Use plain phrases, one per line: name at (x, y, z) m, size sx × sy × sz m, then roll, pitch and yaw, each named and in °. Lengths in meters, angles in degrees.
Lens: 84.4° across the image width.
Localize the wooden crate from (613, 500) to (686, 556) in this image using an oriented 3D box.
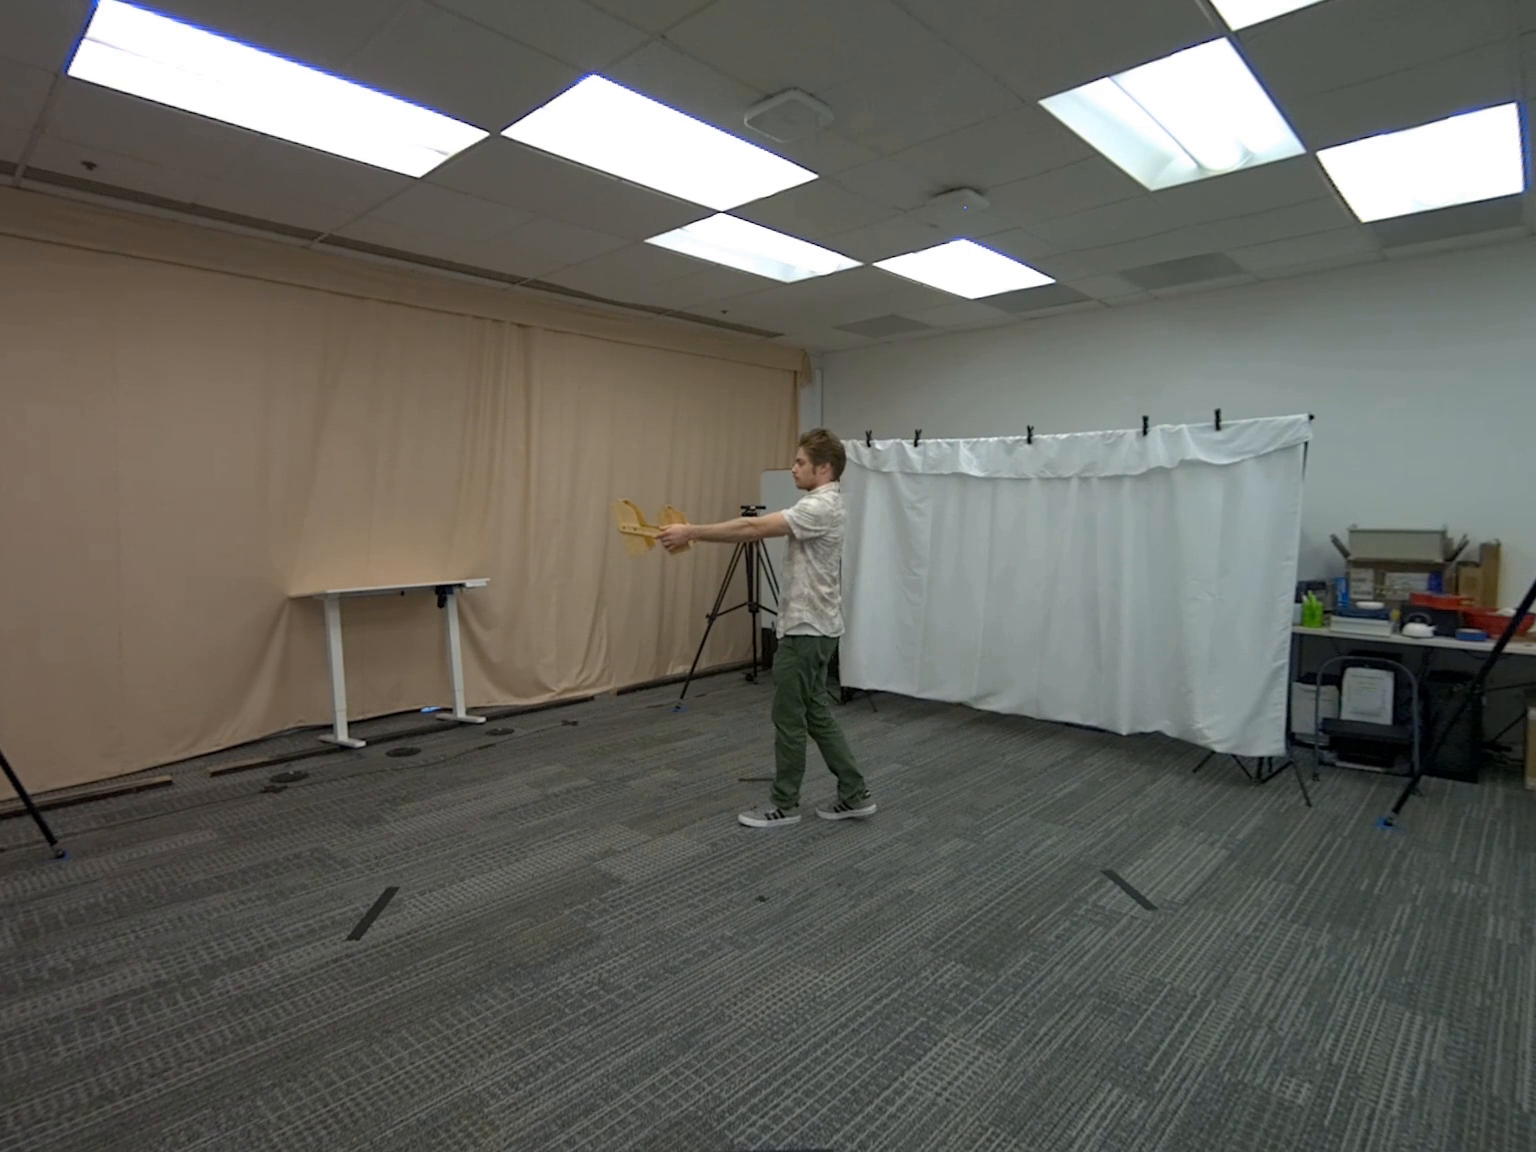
wooden crate at (-0.499, -0.227, 3.700) m, size 0.273 × 0.301 × 0.326 m, roll -20°, pitch 5°, yaw 0°
